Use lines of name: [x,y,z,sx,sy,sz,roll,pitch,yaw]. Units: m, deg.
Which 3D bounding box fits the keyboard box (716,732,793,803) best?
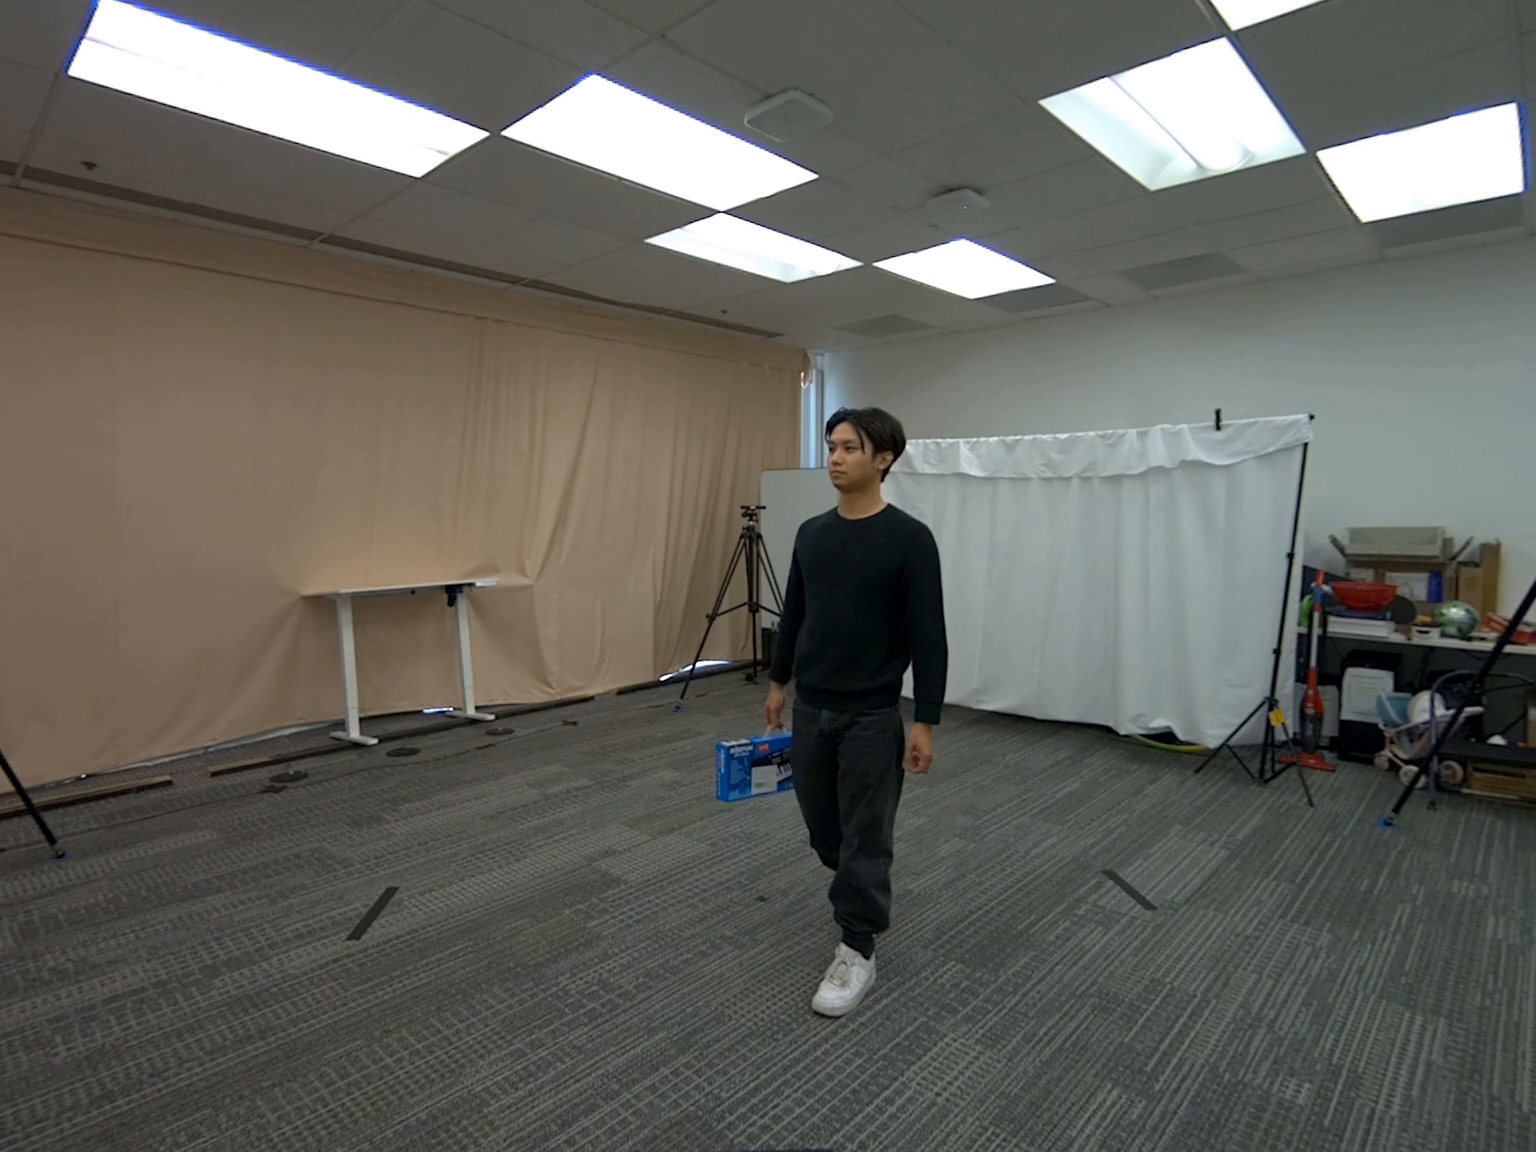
keyboard box: [0.032,0.601,2.696,0.424,0.176,0.061,0,0,-36]
